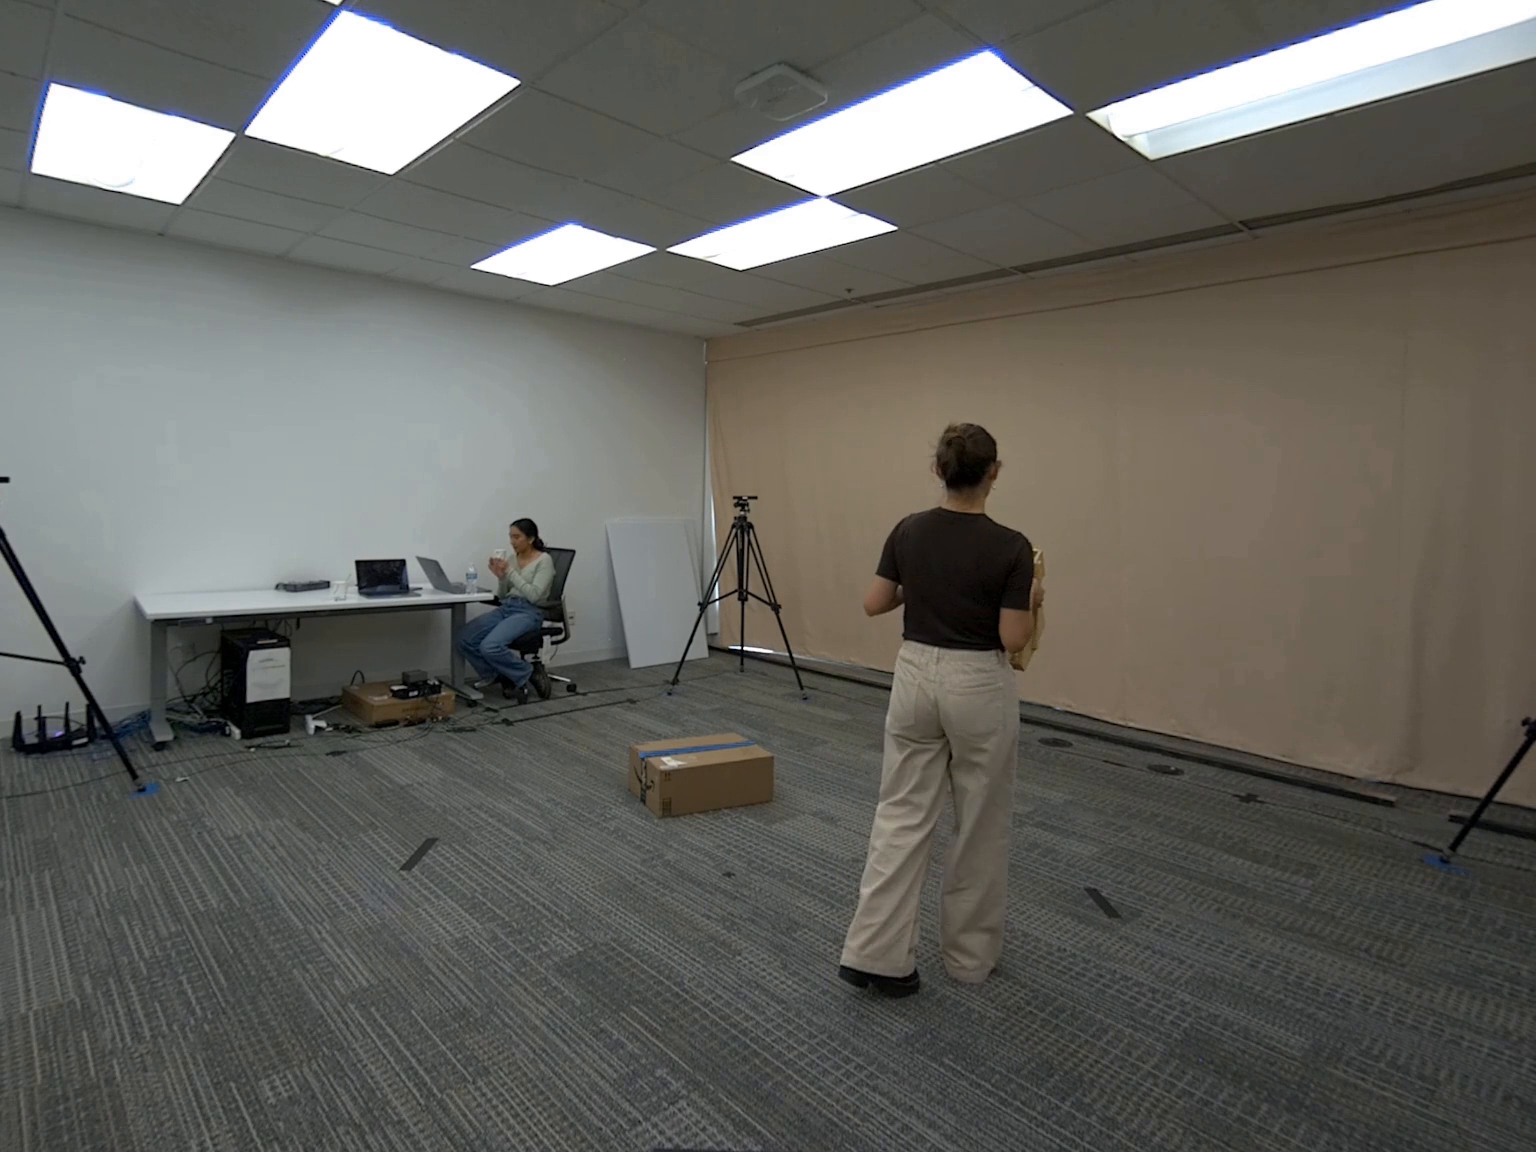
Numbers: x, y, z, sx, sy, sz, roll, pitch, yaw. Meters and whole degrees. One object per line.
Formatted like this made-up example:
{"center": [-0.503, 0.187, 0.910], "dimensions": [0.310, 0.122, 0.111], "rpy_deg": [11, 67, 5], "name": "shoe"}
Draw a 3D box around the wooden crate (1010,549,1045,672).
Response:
{"center": [0.678, 0.095, 2.644], "dimensions": [0.332, 0.267, 0.302], "rpy_deg": [6, 36, 33], "name": "wooden crate"}
